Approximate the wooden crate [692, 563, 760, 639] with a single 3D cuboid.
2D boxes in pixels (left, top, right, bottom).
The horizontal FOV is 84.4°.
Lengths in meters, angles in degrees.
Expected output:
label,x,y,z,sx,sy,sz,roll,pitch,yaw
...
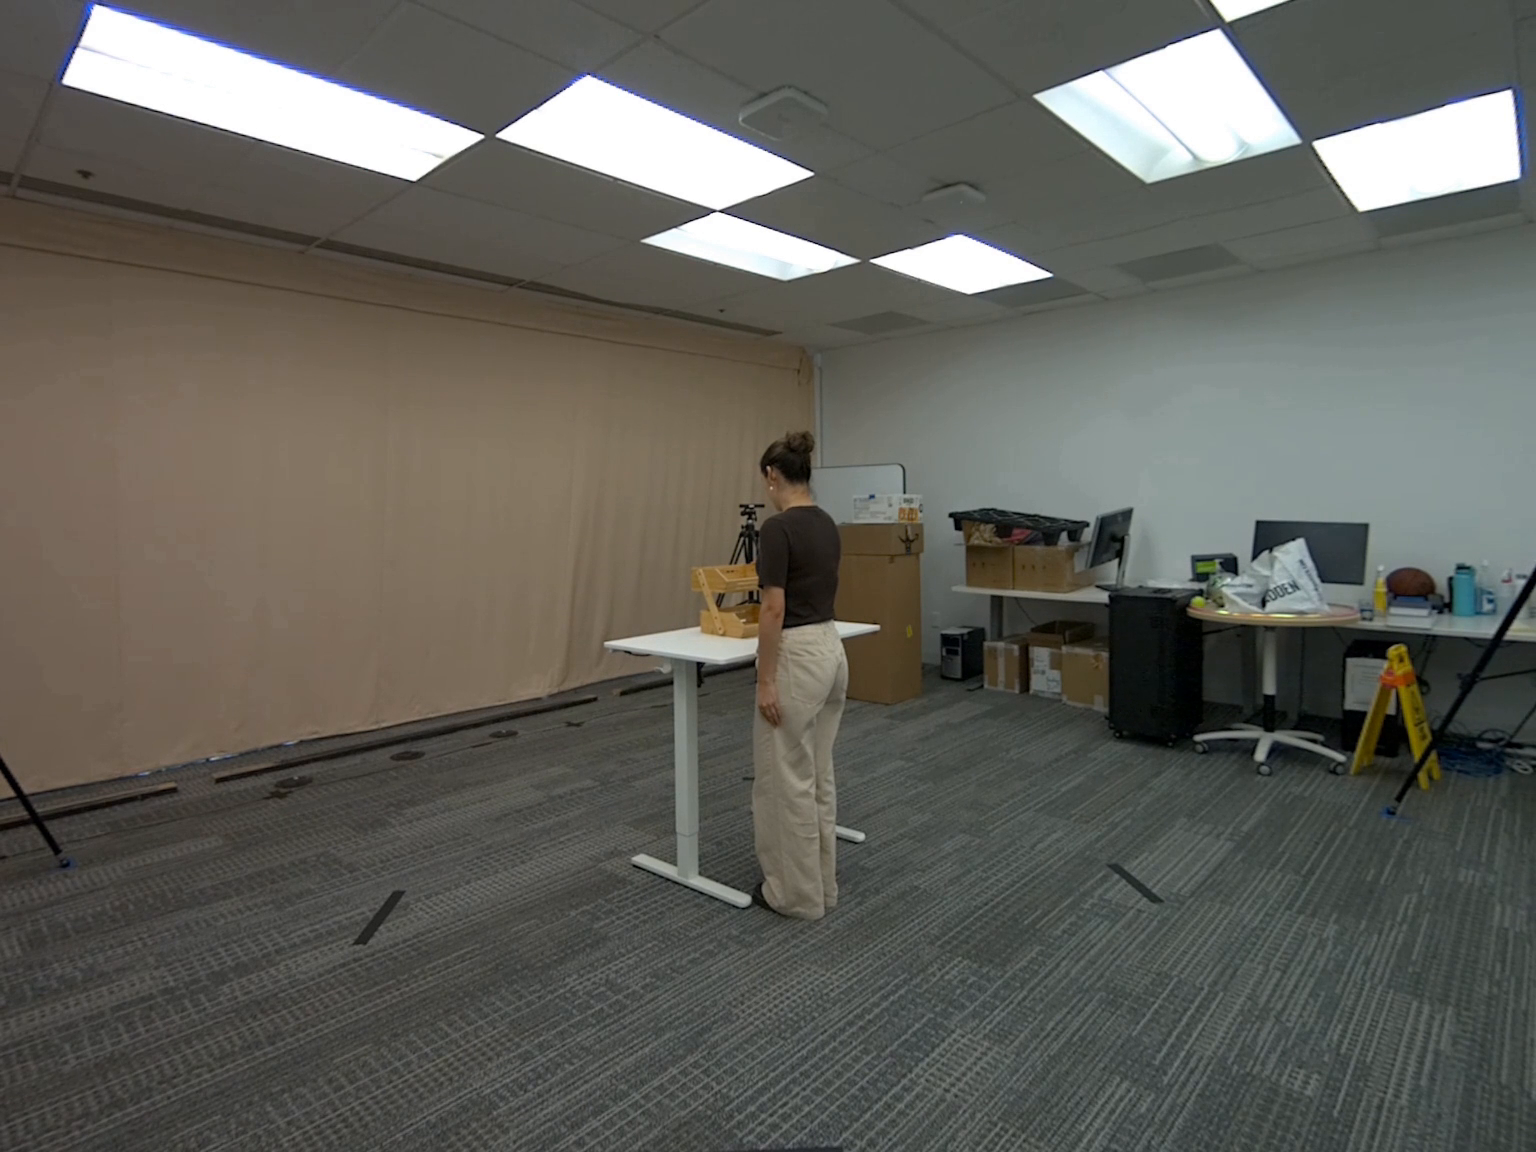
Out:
label,x,y,z,sx,sy,sz,roll,pitch,yaw
wooden crate,-0.094,0.092,3.400,0.314,0.273,0.312,-4,4,-44
